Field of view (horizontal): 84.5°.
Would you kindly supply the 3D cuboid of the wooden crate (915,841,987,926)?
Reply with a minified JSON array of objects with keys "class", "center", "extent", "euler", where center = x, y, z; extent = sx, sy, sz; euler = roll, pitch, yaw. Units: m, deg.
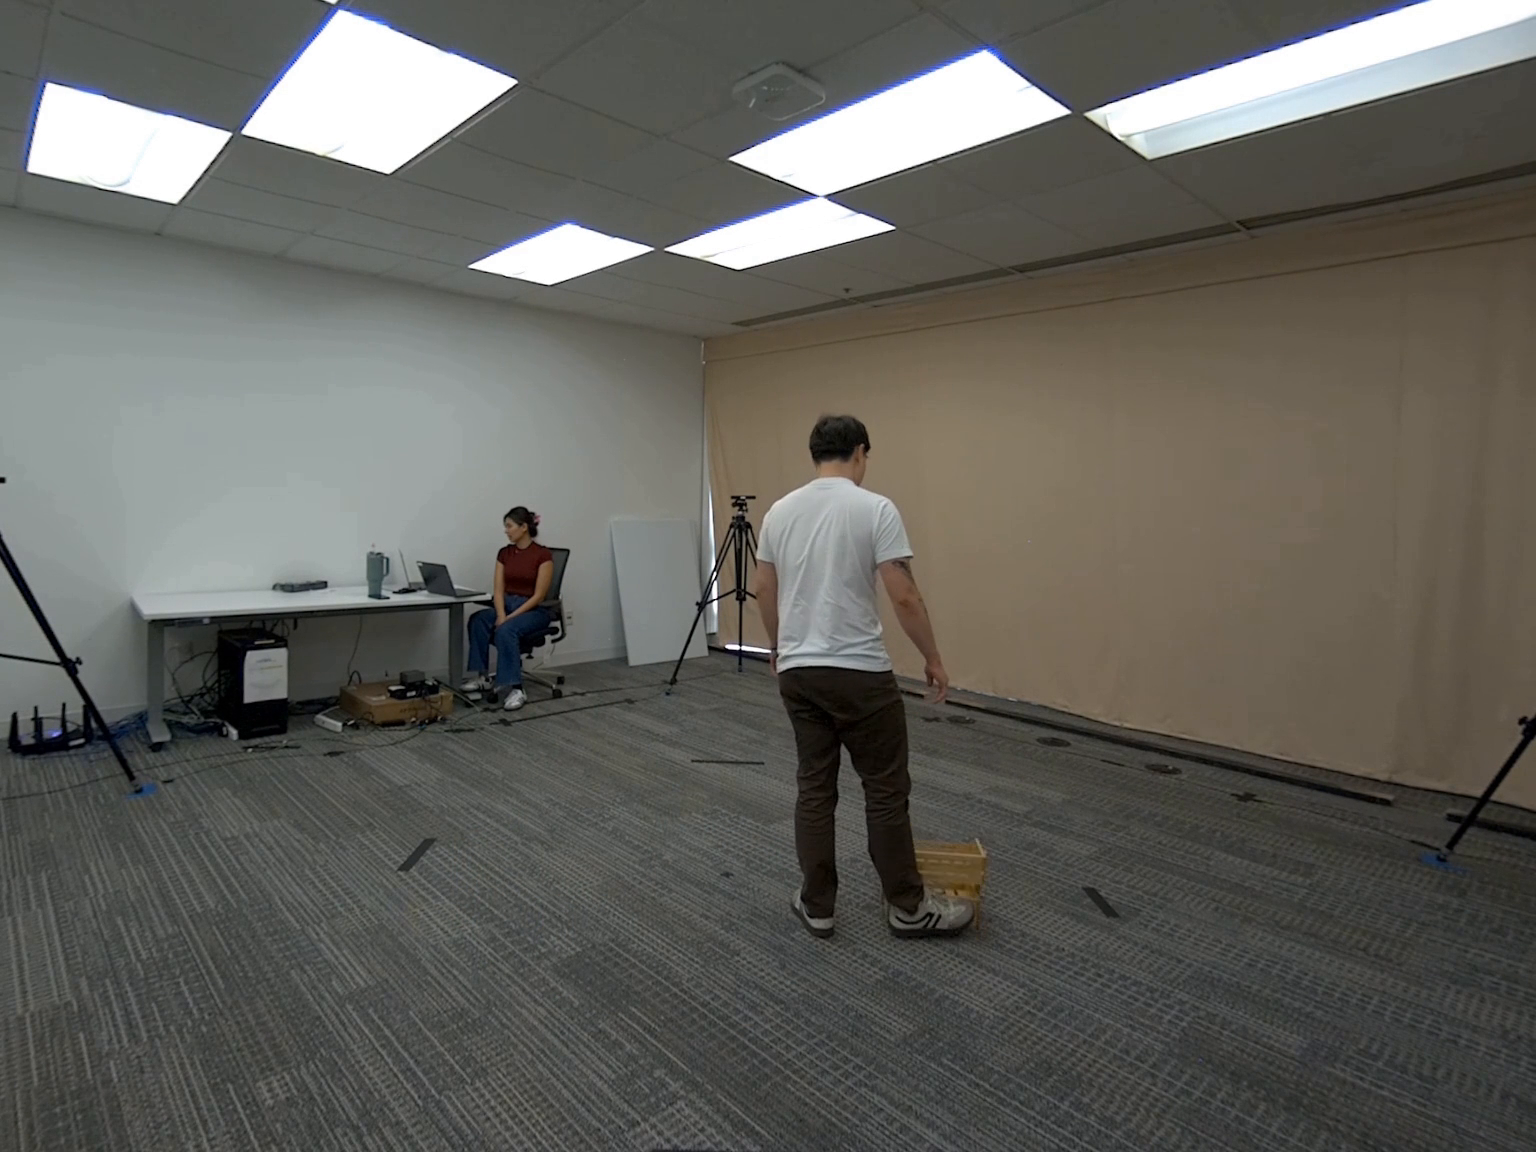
[{"class":"wooden crate","center":[0.544,1.008,2.884],"extent":[0.326,0.272,0.301],"euler":[2,4,6]}]
